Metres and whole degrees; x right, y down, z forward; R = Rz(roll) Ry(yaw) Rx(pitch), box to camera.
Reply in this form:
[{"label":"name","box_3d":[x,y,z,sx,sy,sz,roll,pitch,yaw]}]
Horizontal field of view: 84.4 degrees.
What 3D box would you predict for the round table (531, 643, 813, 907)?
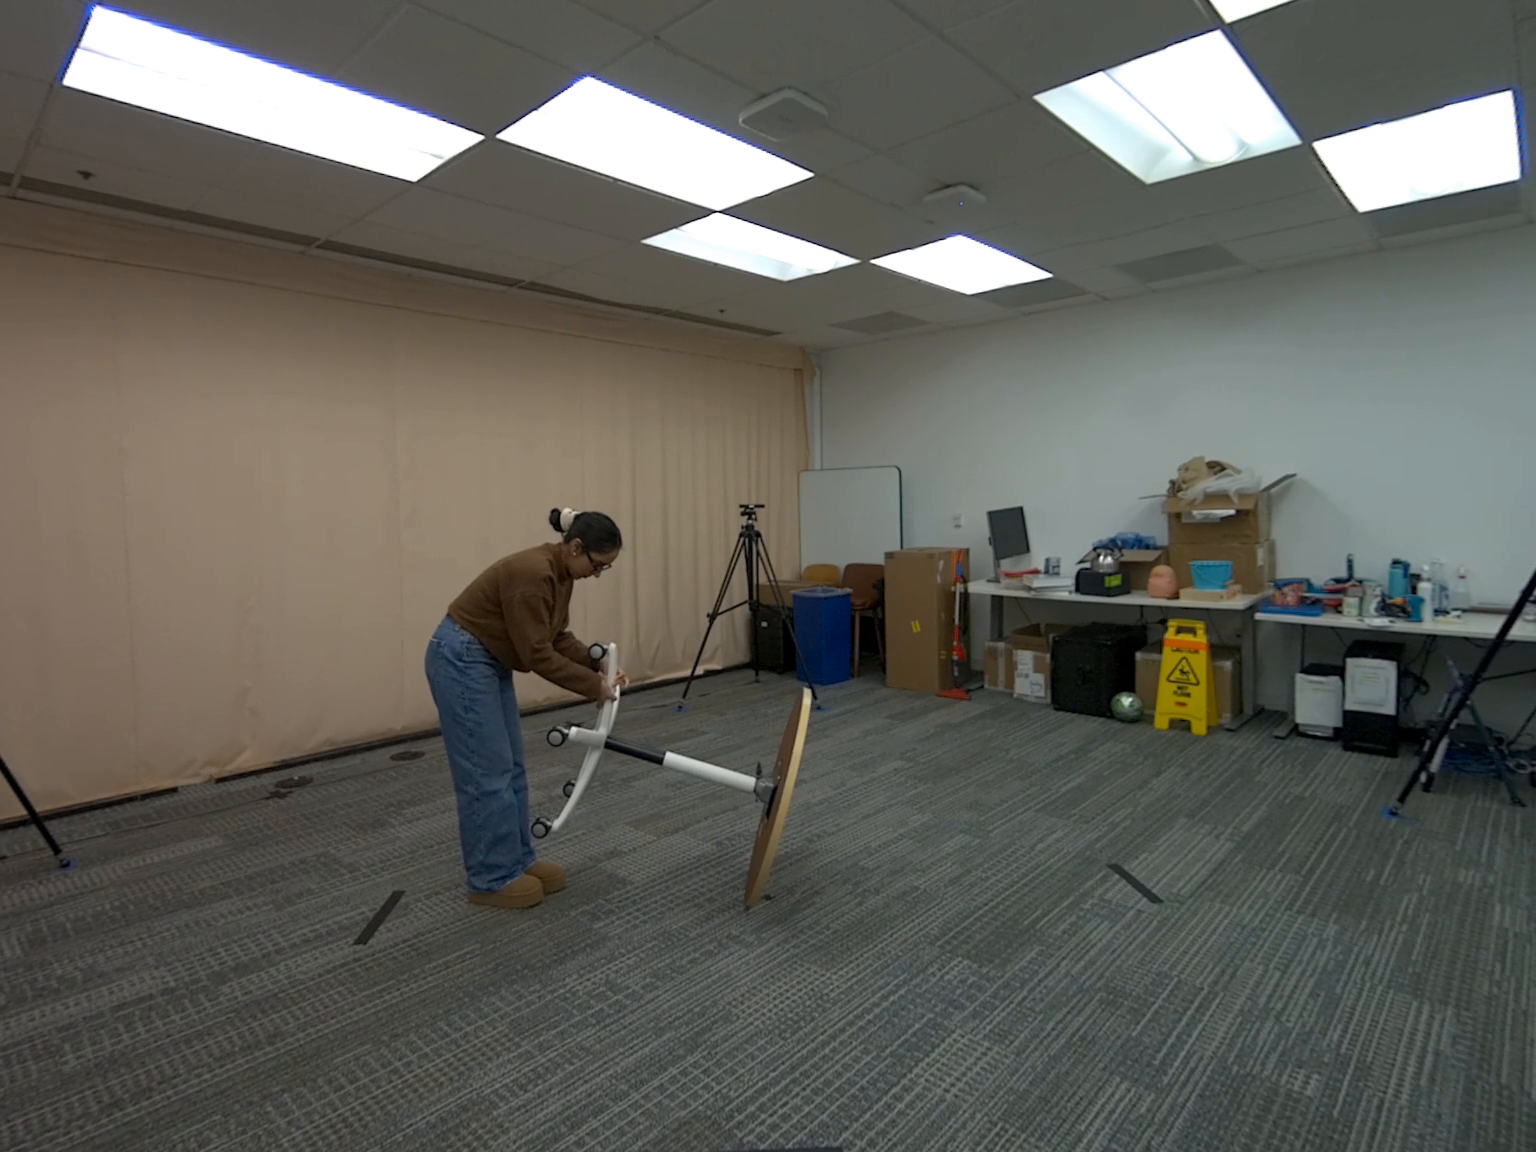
[{"label":"round table","box_3d":[-0.329,0.668,3.009,0.798,0.762,0.762,15,5,3]}]
